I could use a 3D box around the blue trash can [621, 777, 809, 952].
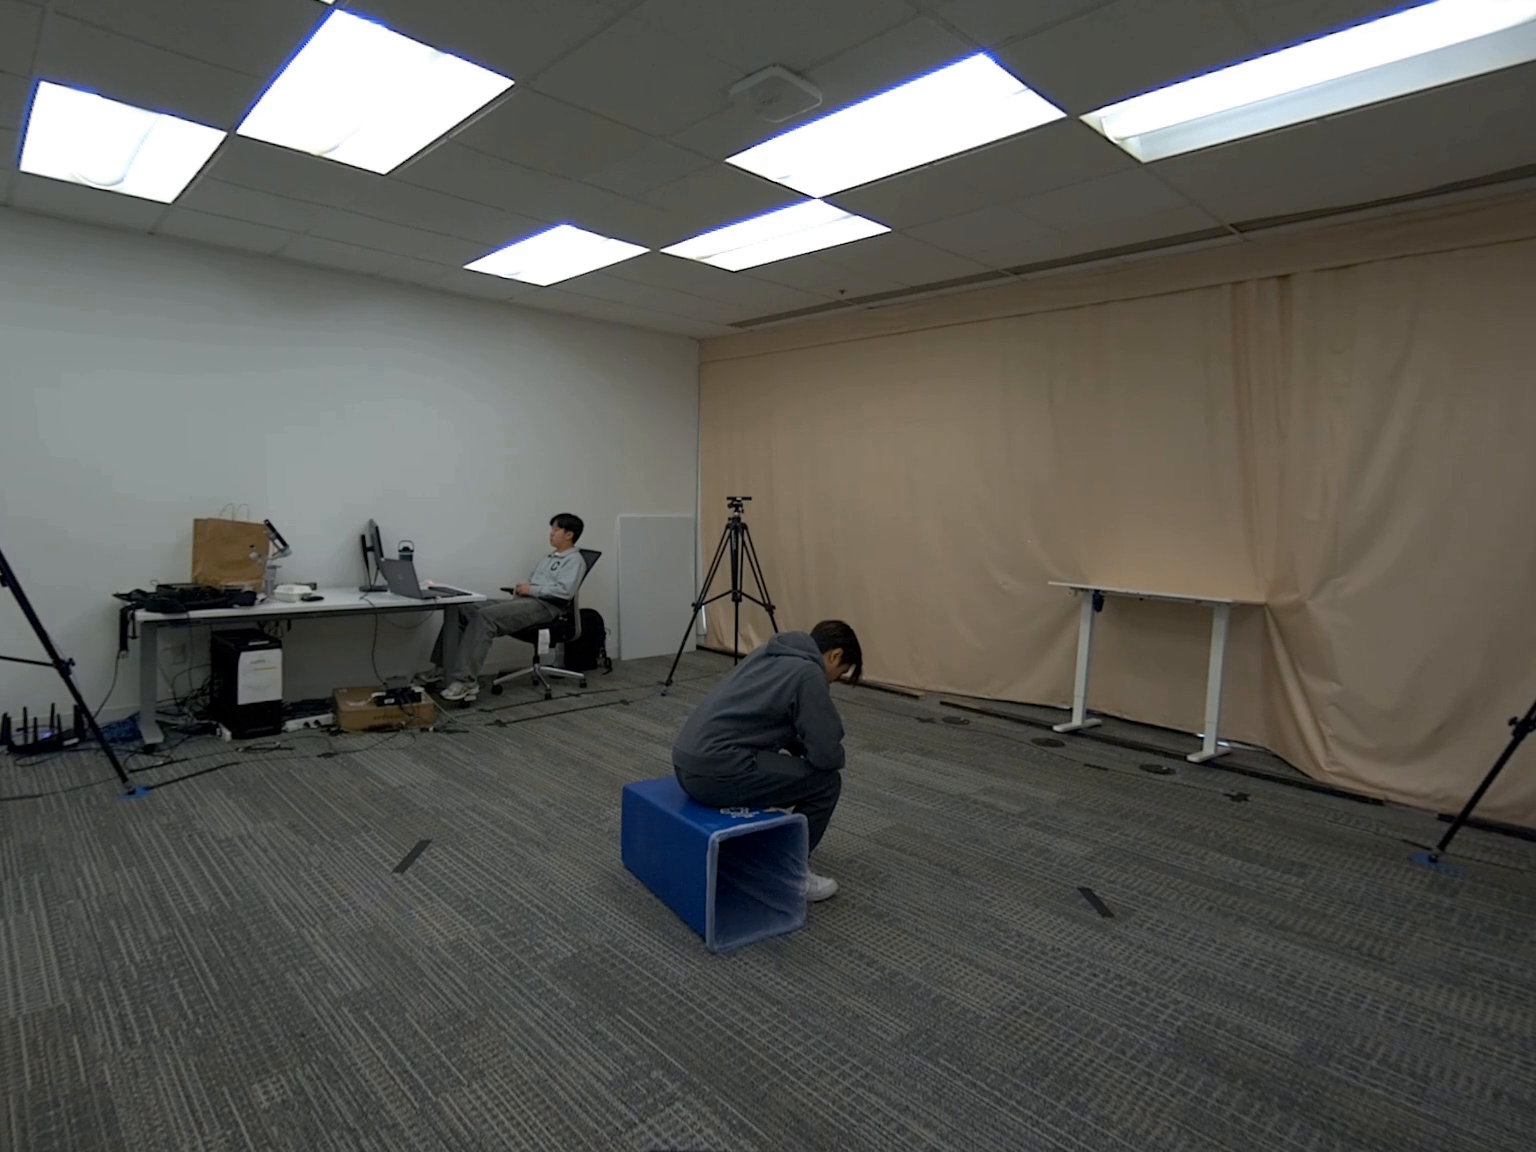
[{"bbox_3d":[-0.237,0.952,2.937,0.366,0.378,0.730,-1,2,-35],"label":"blue trash can"}]
